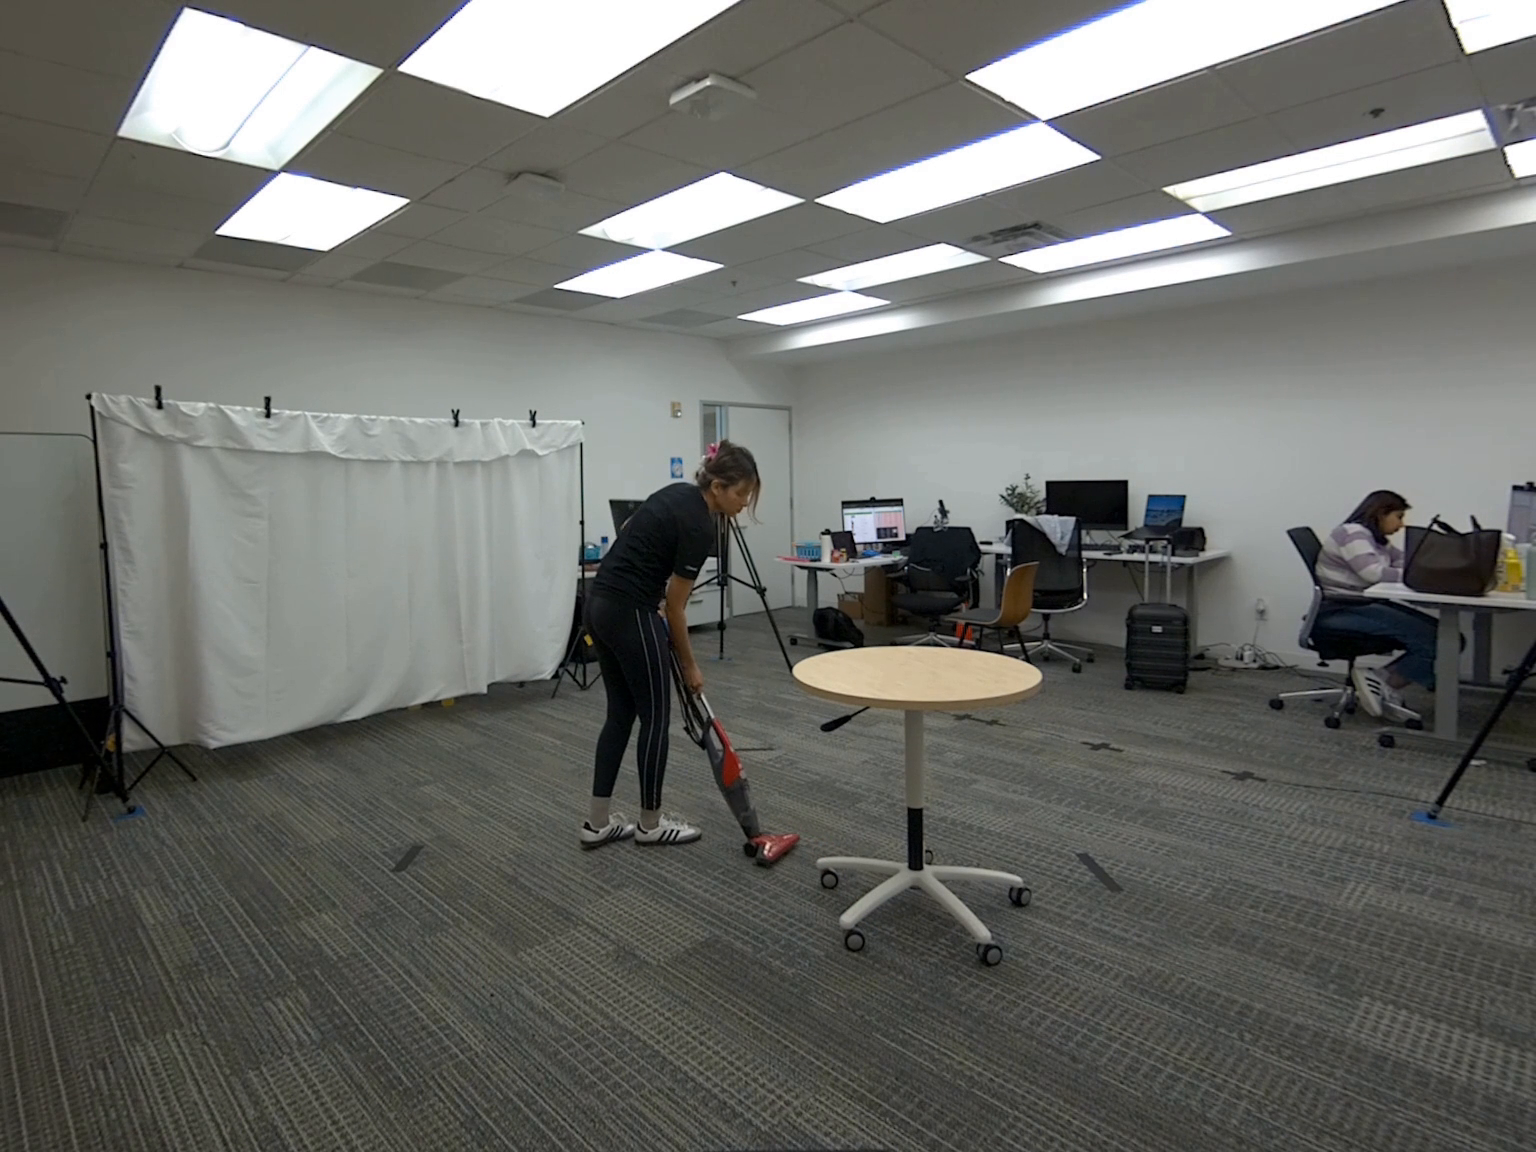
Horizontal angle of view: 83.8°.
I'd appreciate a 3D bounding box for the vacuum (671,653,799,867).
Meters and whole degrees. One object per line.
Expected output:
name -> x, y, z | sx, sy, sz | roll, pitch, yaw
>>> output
vacuum -> -0.224, 0.573, 3.314 | 0.145, 1.068, 0.246 | -34, -15, 23
